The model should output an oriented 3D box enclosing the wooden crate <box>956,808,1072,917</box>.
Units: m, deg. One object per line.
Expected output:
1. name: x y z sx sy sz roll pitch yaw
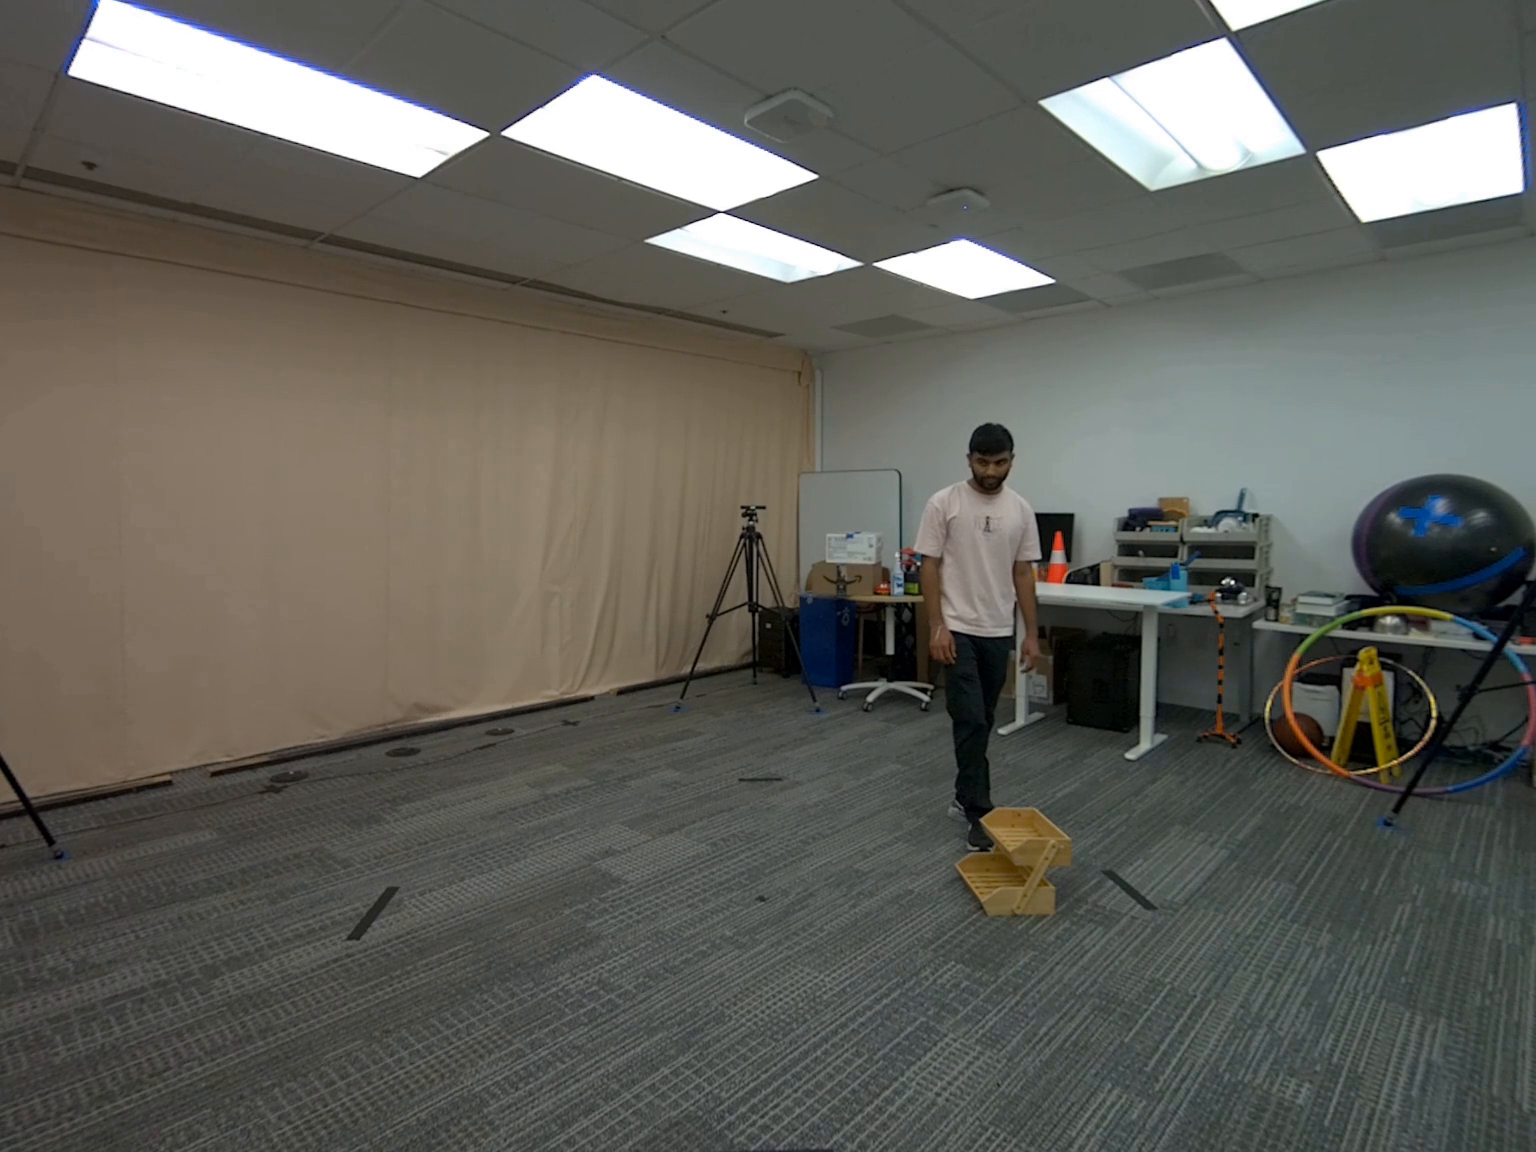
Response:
1. wooden crate: 0.862 1.002 3.005 0.301 0.273 0.326 1 4 -4
